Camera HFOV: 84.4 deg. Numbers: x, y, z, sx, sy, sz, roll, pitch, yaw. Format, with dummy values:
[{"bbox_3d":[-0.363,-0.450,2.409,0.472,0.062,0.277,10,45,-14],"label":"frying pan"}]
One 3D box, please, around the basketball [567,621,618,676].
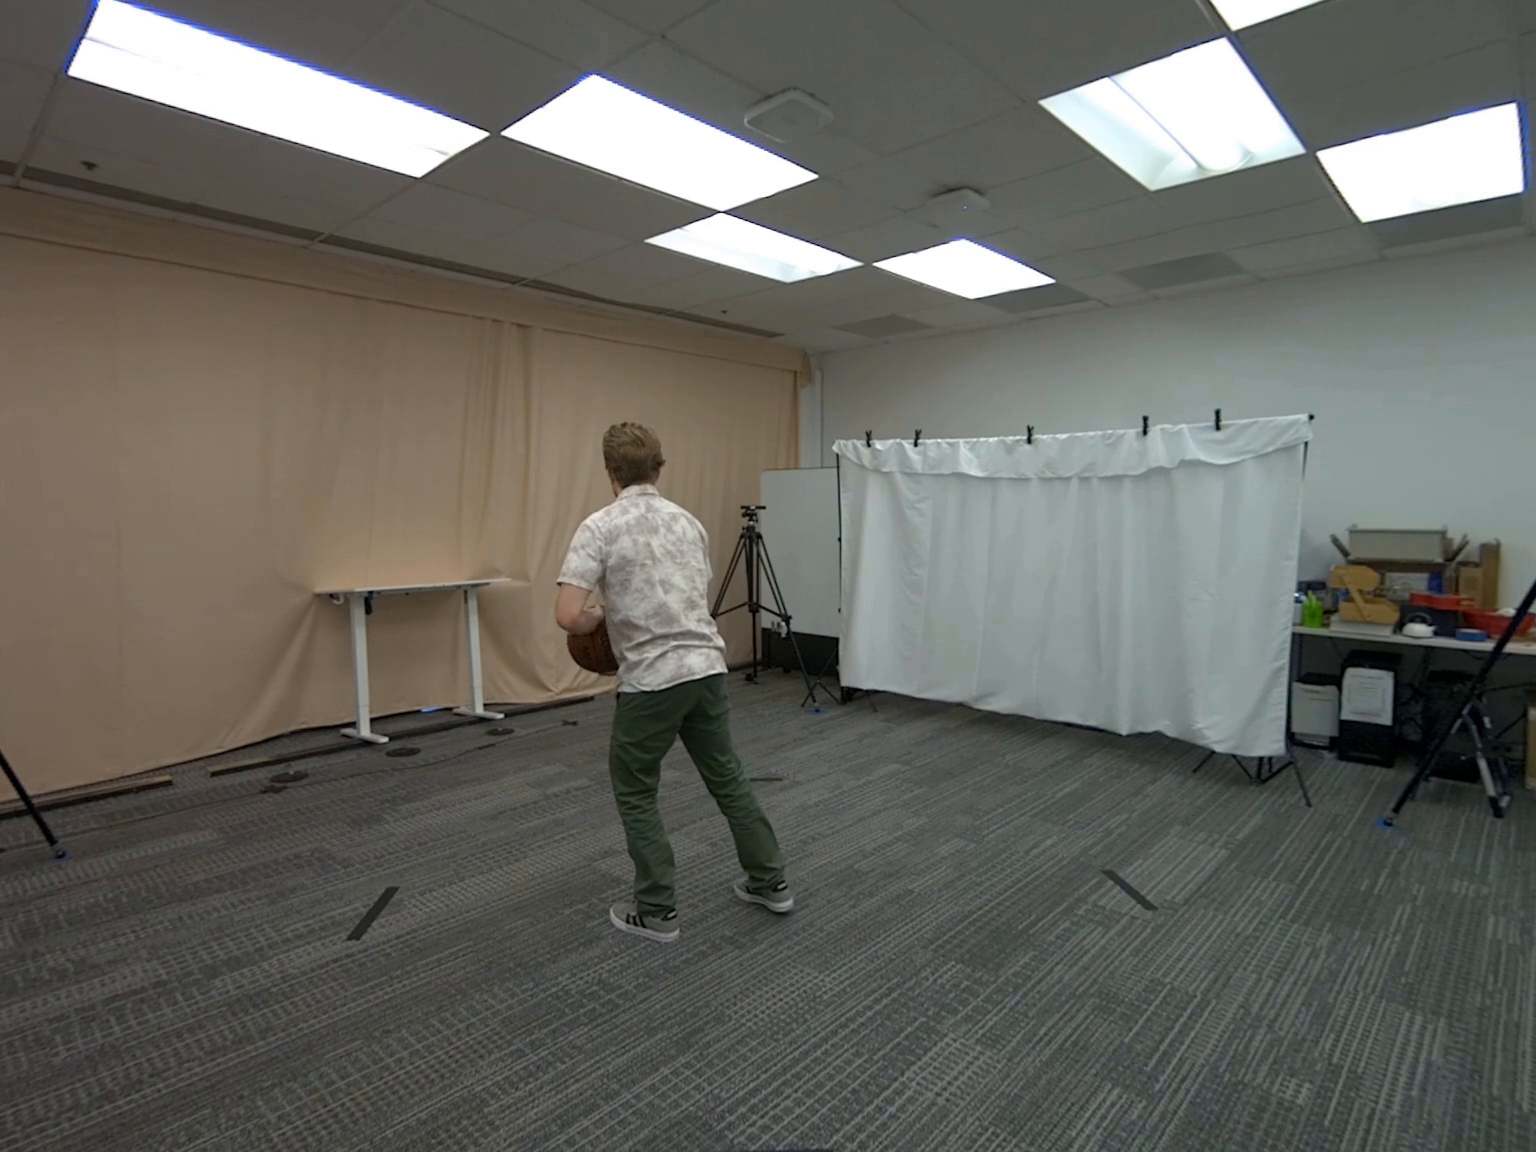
[{"bbox_3d":[-0.586,0.228,2.978,0.236,0.235,0.237,0,4,-2],"label":"basketball"}]
